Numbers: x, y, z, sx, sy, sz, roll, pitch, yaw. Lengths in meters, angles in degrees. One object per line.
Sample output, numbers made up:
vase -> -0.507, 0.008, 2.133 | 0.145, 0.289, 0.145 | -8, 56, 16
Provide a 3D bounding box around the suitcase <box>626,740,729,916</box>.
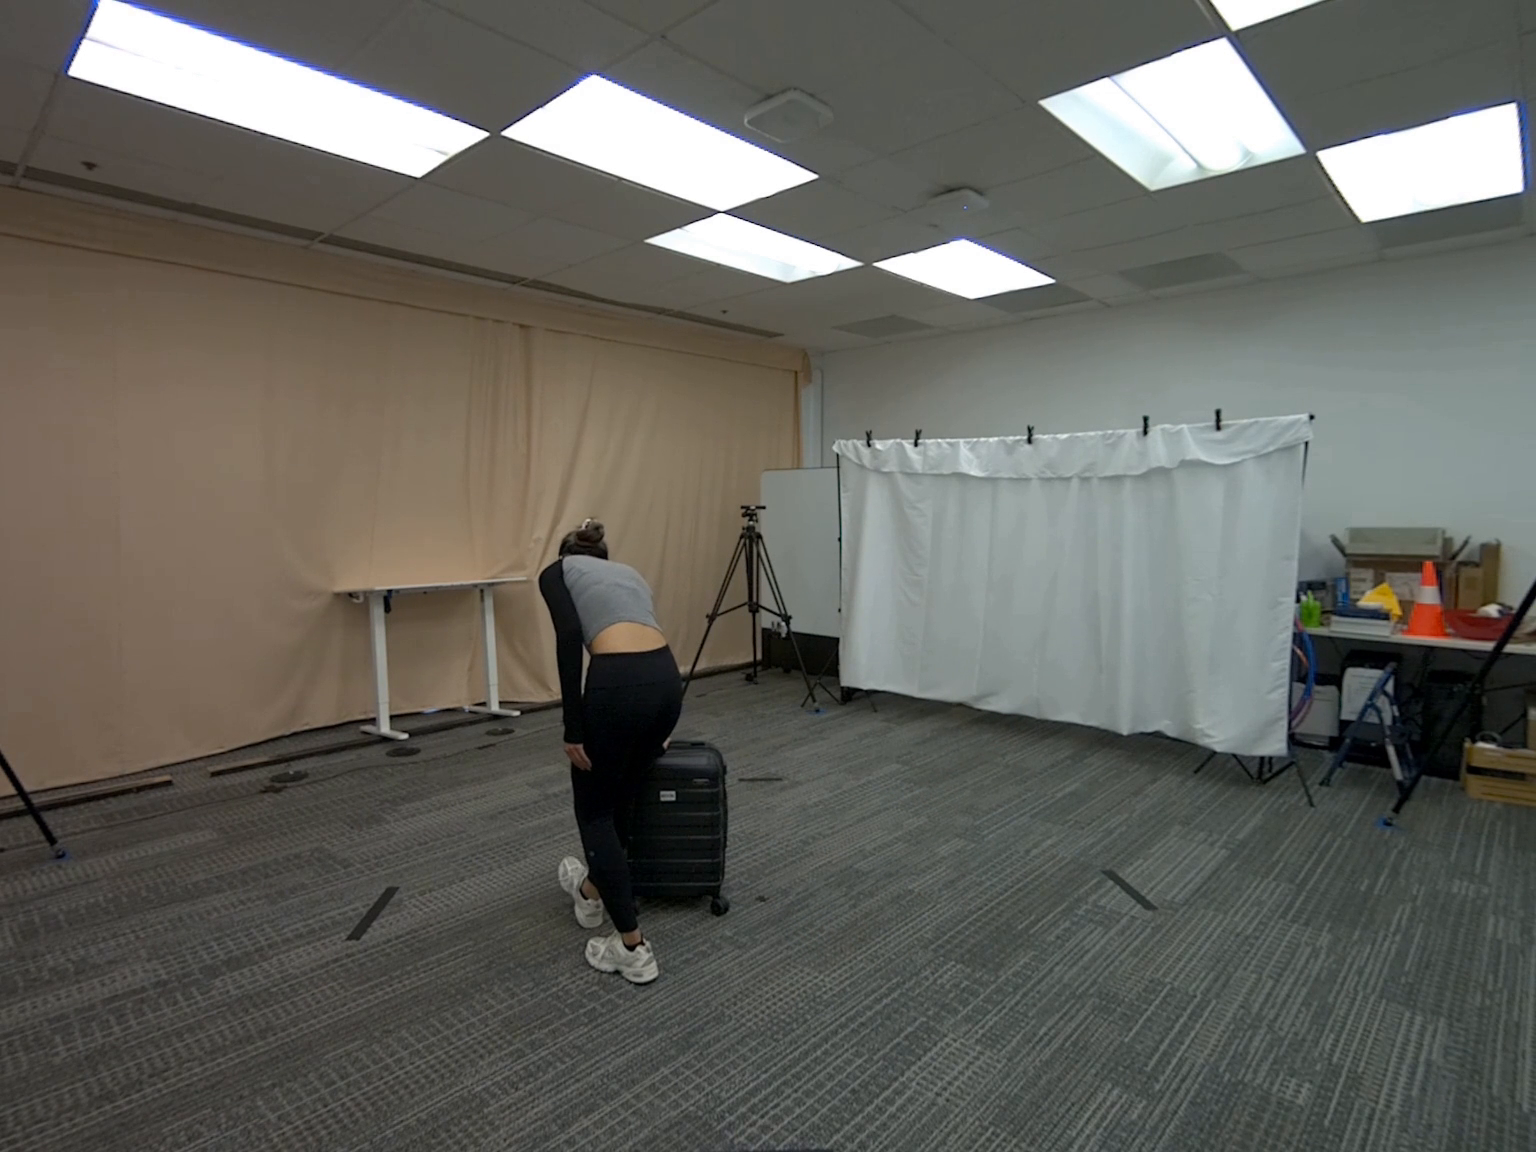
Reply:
suitcase -> -0.329, 0.871, 2.985 | 0.375, 0.548, 0.249 | 0, 2, -1
